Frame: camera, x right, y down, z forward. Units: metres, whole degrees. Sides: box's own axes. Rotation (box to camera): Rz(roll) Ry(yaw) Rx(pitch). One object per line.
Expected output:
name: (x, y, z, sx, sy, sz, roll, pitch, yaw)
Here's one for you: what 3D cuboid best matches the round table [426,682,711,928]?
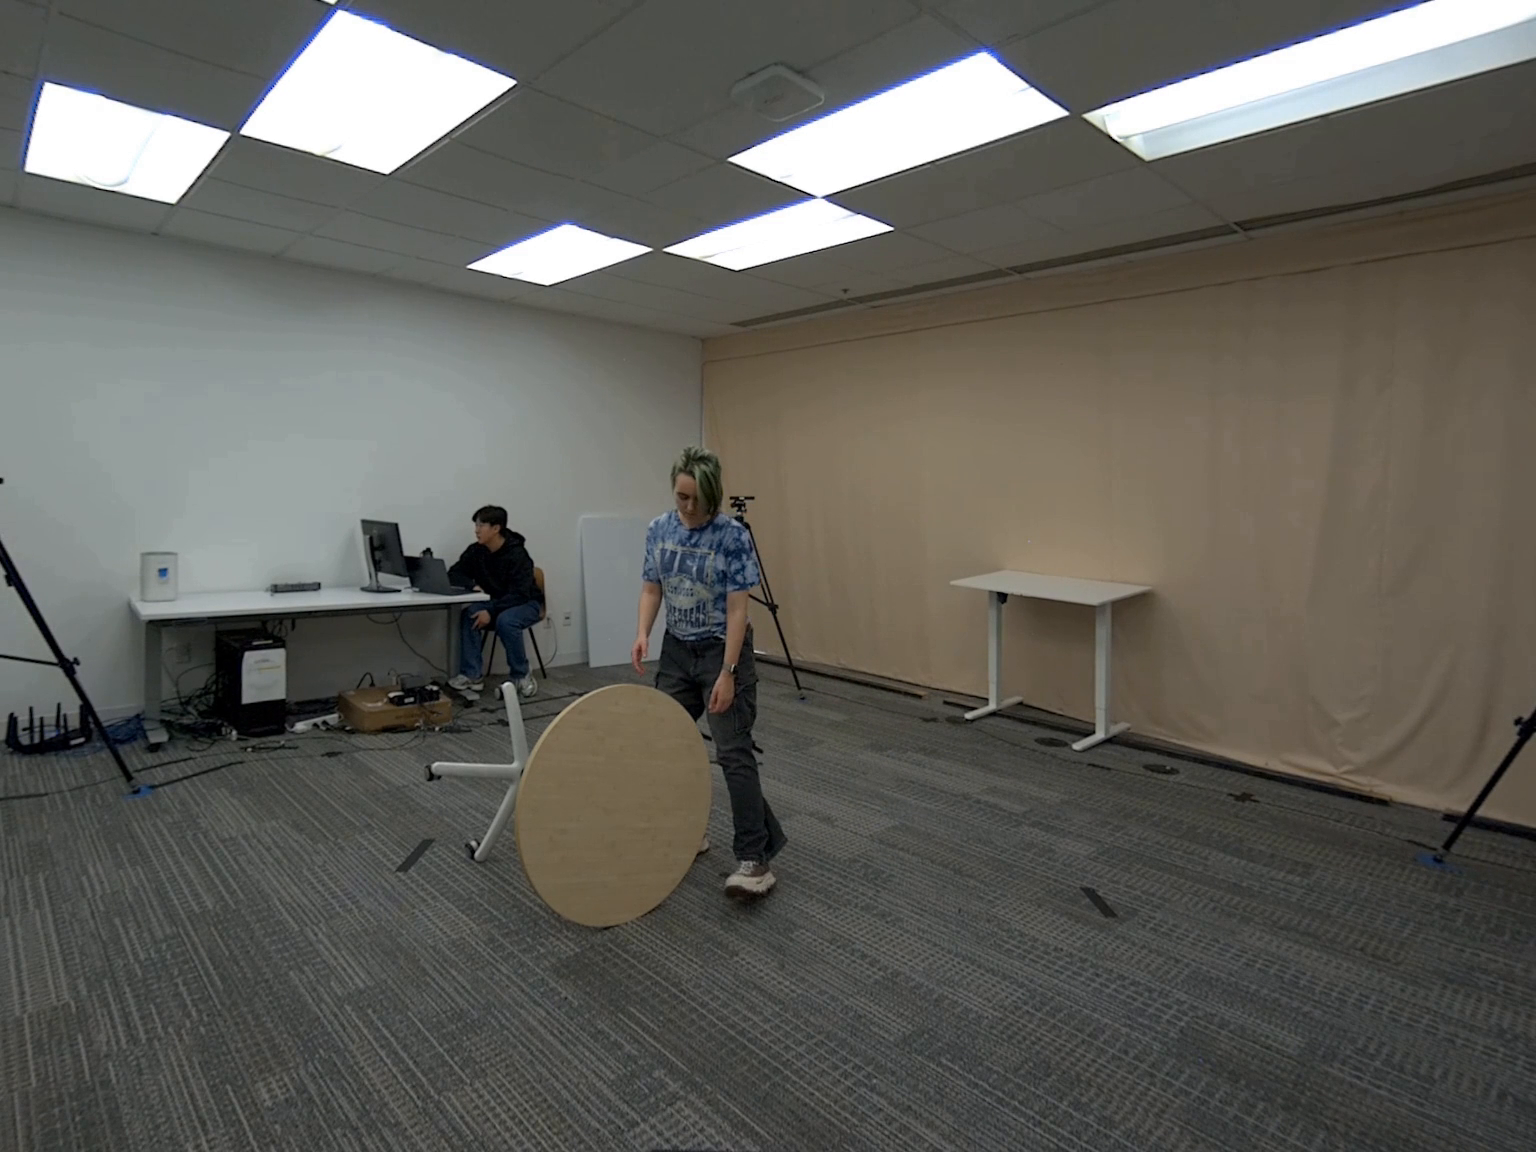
round table: (-0.758, 0.753, 3.055, 0.746, 0.765, 0.811, -3, -1, -43)
